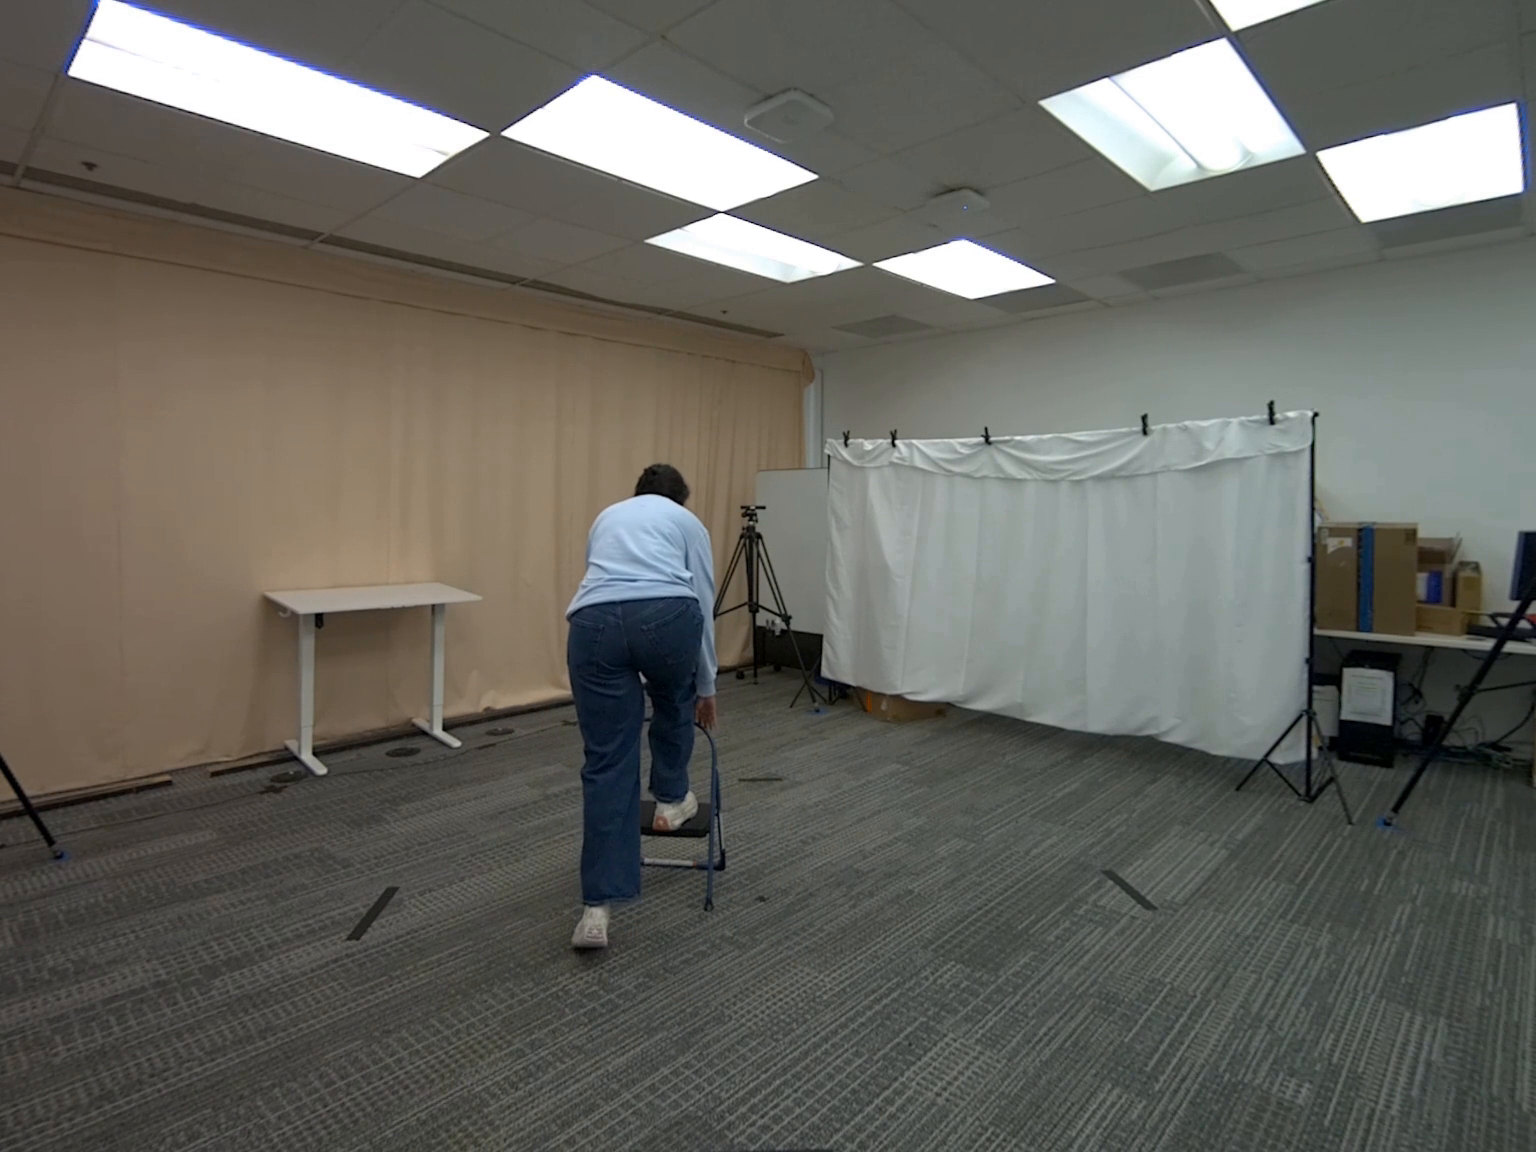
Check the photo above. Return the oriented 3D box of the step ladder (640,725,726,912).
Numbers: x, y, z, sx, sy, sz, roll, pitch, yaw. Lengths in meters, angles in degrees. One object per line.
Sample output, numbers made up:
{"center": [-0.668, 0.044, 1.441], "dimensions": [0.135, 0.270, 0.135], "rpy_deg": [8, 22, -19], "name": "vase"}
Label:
{"center": [-0.380, 0.837, 3.089], "dimensions": [0.435, 0.605, 0.346], "rpy_deg": [1, 3, 9], "name": "step ladder"}
